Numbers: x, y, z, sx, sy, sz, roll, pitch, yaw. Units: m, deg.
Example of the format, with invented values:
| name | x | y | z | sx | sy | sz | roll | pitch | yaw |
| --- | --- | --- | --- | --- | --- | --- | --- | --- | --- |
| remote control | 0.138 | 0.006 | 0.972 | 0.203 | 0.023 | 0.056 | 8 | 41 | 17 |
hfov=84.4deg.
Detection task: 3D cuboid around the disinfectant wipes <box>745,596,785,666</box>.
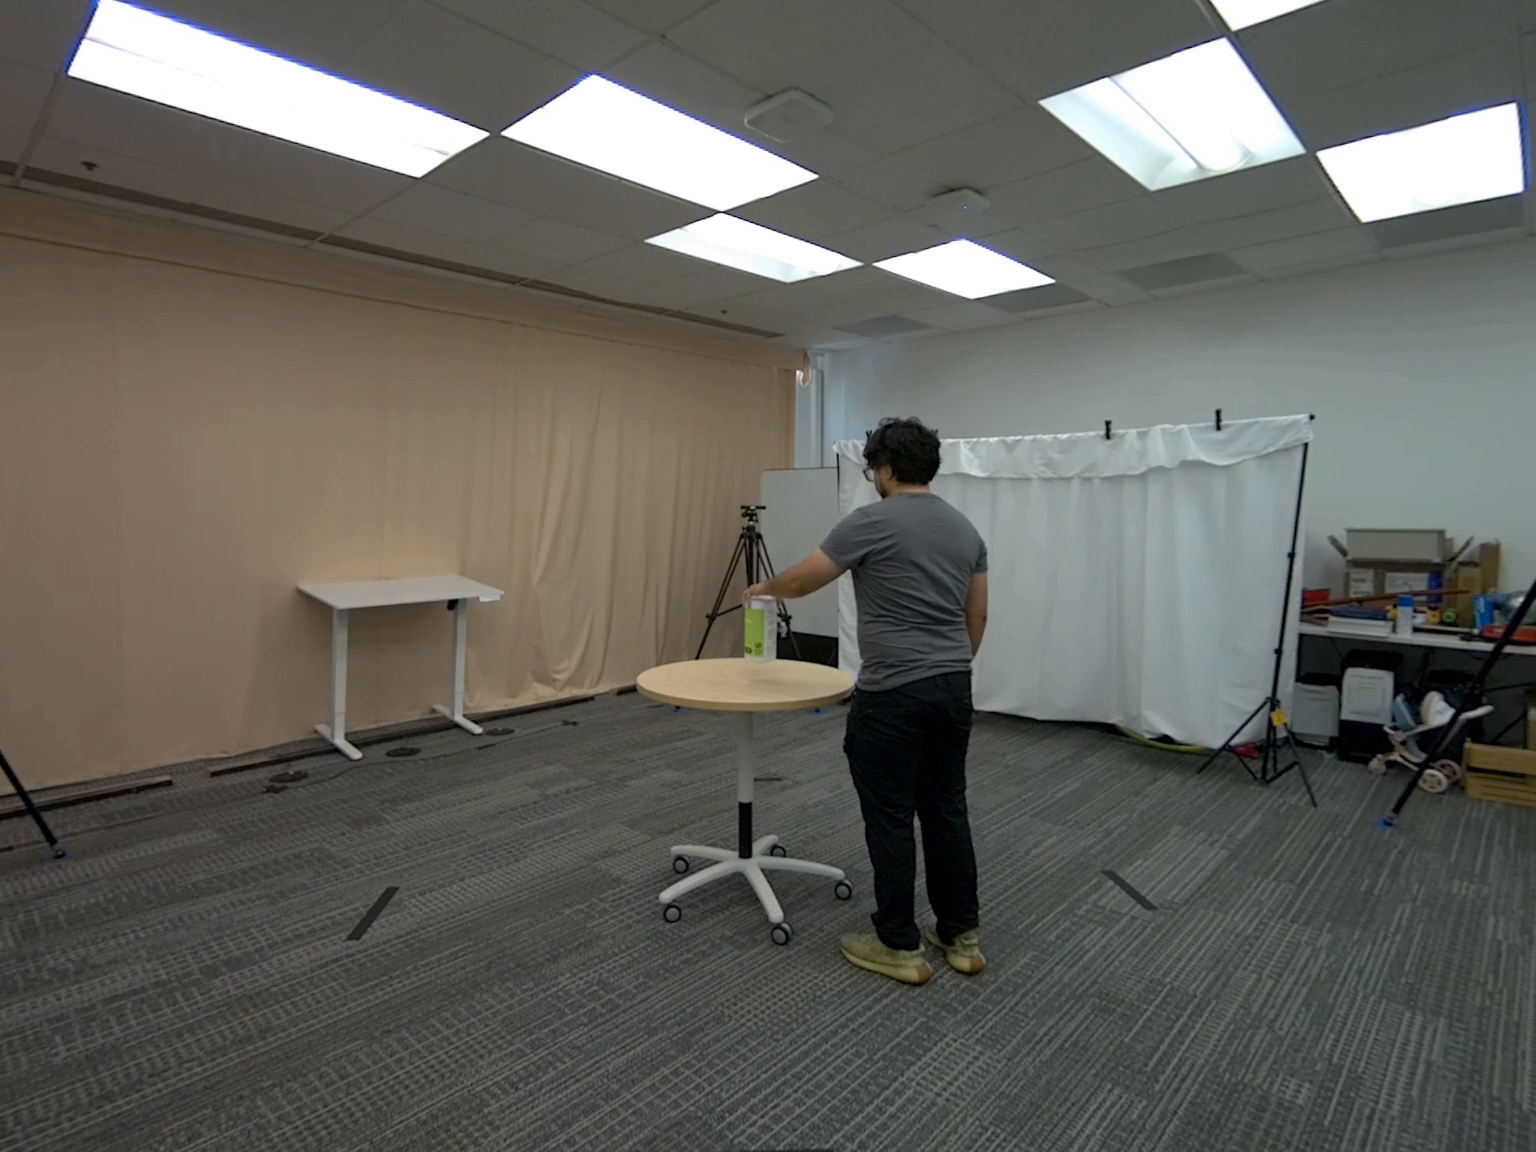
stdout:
| name | x | y | z | sx | sy | sz | roll | pitch | yaw |
| --- | --- | --- | --- | --- | --- | --- | --- | --- | --- |
| disinfectant wipes | -0.013 | 0.180 | 2.895 | 0.117 | 0.216 | 0.118 | 2 | 7 | -2 |
